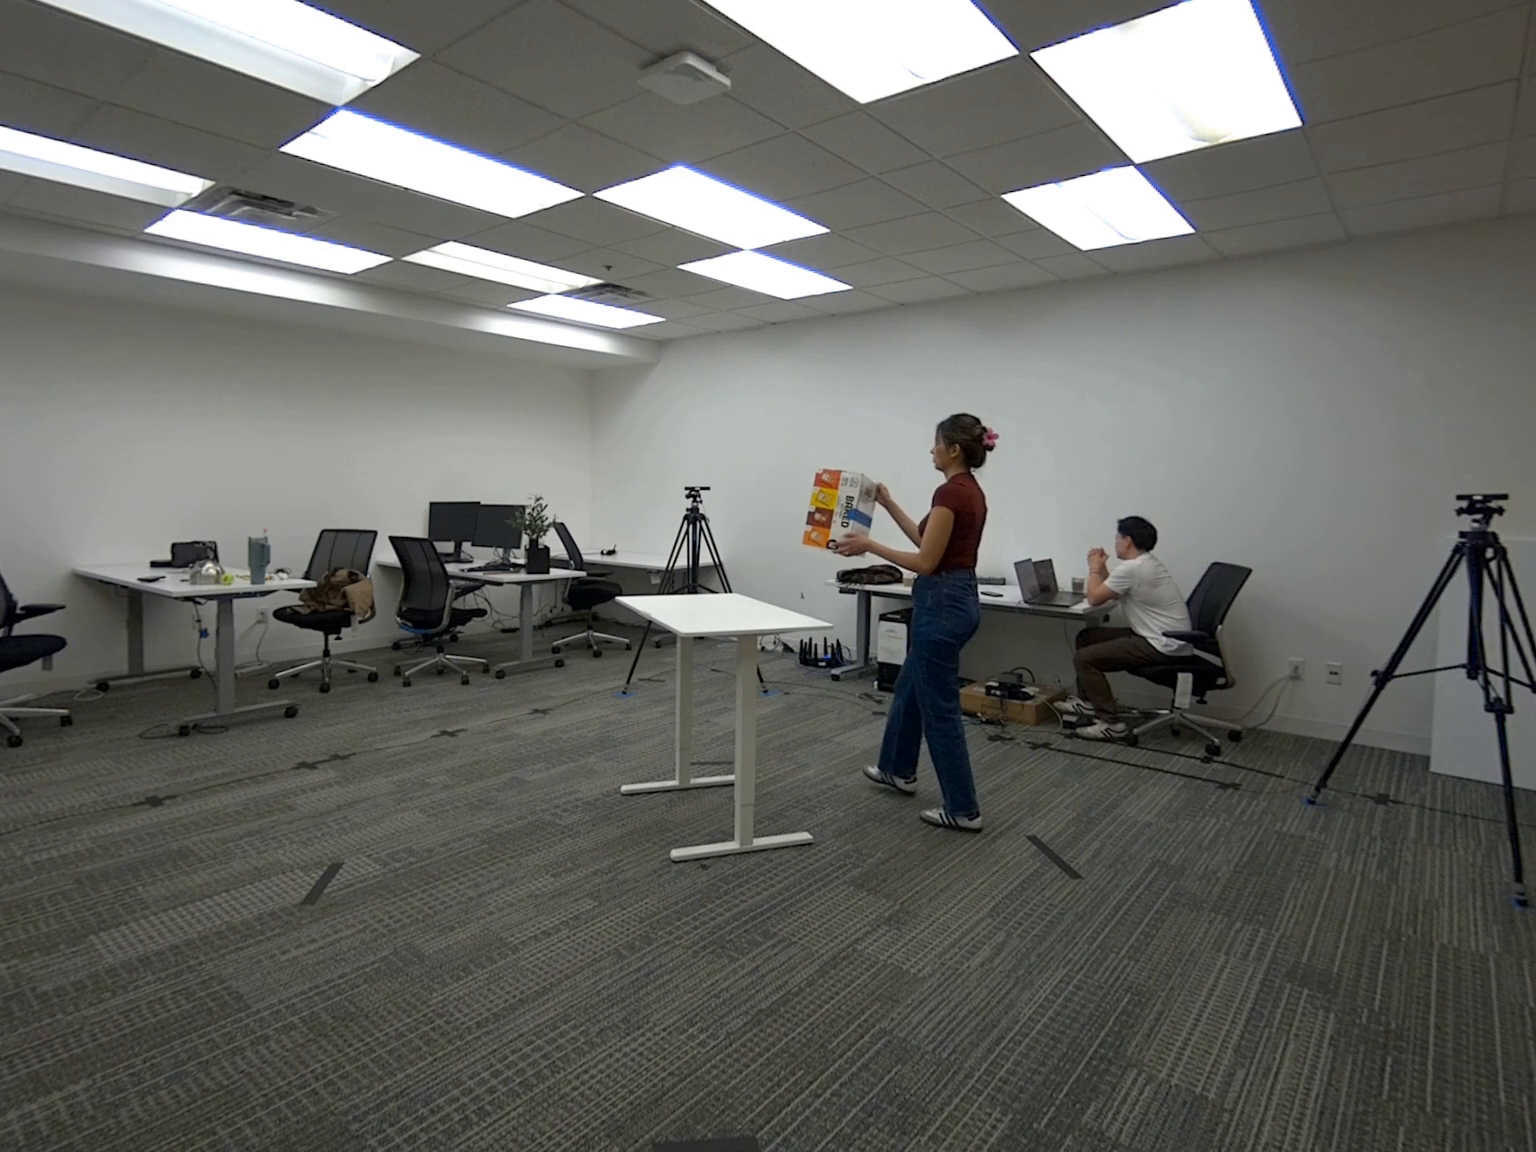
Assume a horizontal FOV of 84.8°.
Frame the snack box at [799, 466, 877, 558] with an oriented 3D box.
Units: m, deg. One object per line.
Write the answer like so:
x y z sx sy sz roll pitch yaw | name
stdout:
0.319 -0.281 3.773 0.210 0.340 0.396 11 1 17 | snack box
